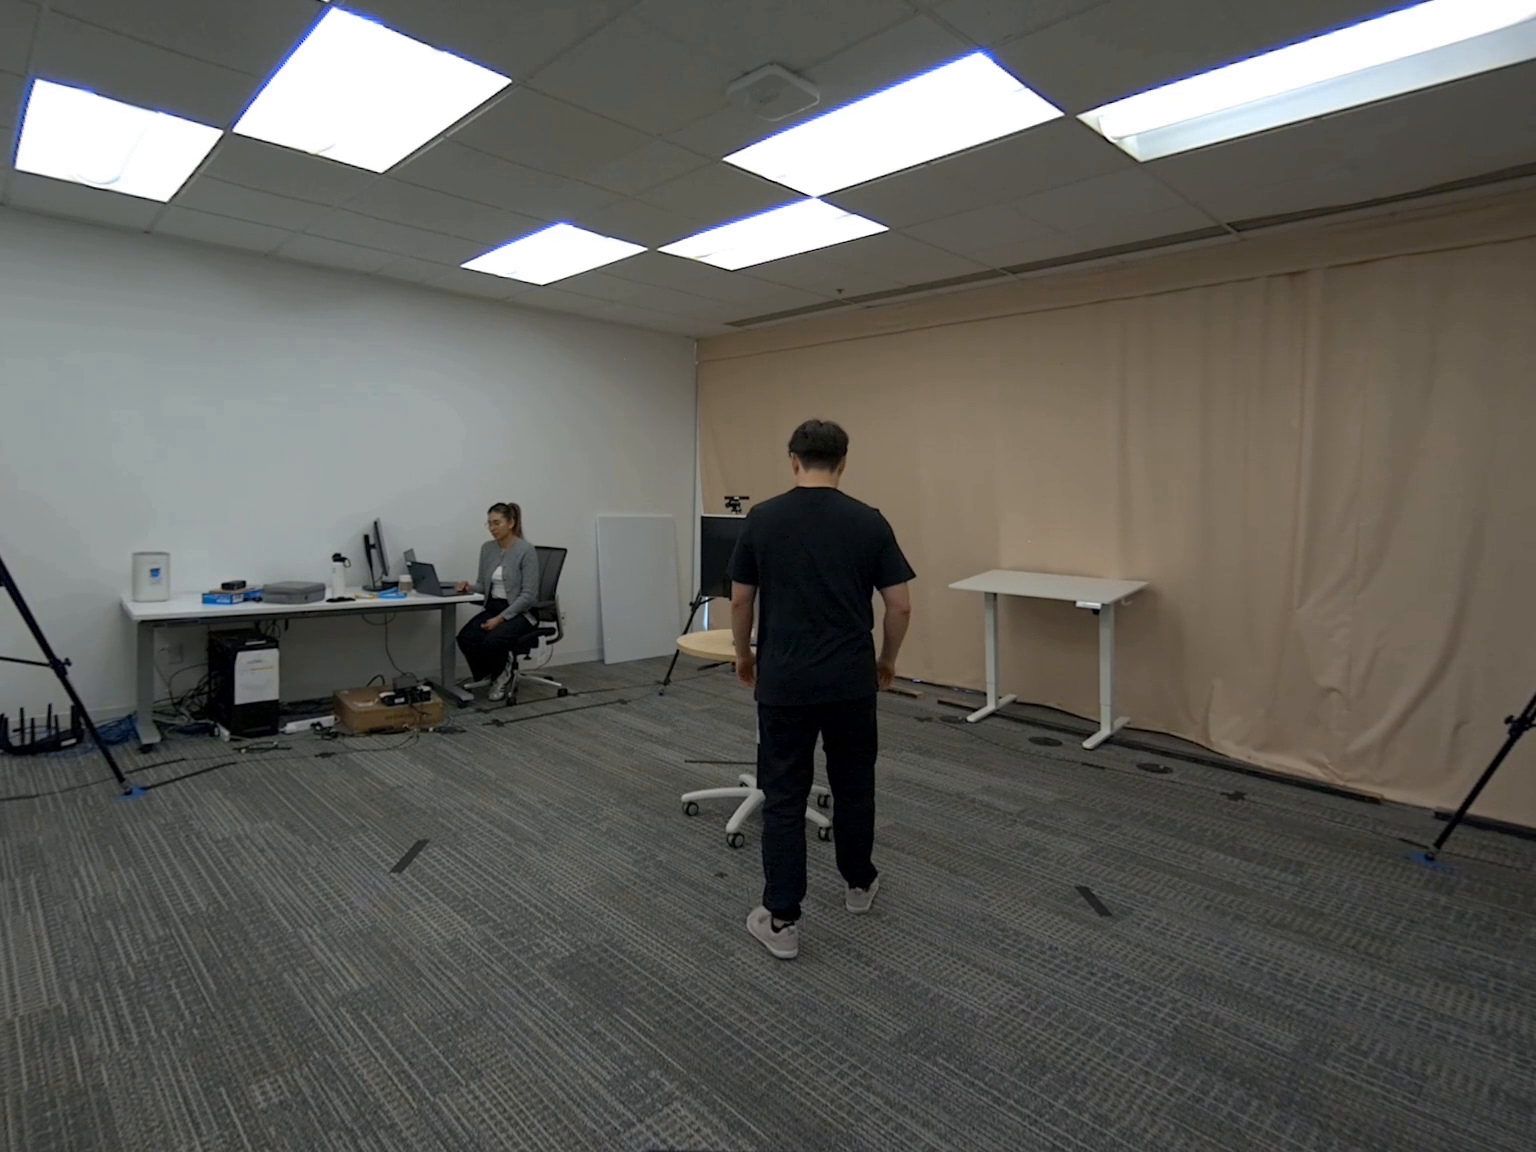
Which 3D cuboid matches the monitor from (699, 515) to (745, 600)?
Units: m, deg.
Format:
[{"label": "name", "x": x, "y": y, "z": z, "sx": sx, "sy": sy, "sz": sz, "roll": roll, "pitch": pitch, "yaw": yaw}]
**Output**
[{"label": "monitor", "x": -0.019, "y": 0.027, "z": 3.560, "sx": 0.541, "sy": 0.522, "sz": 0.186, "roll": 2, "pitch": 1, "yaw": 4}]
